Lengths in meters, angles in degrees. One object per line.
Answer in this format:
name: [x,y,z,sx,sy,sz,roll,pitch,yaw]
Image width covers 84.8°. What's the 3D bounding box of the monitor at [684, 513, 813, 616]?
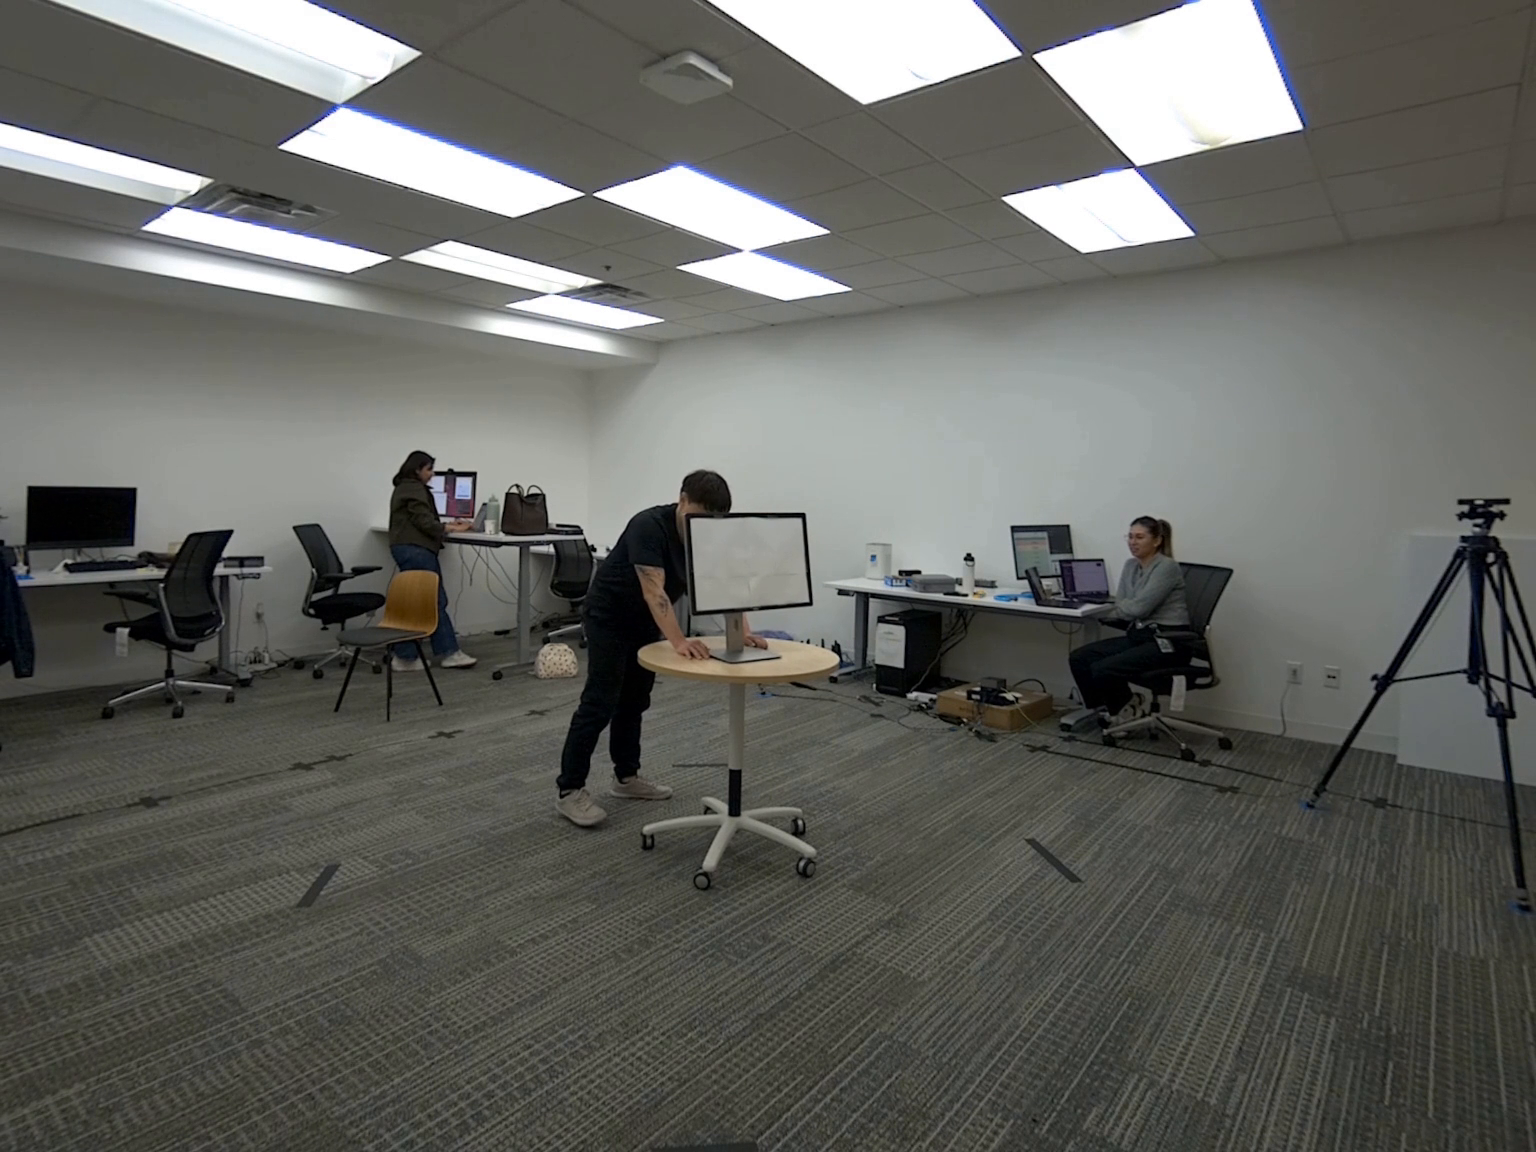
monitor: [-0.095,0.034,3.185,0.523,0.520,0.194,-2,7,-38]
